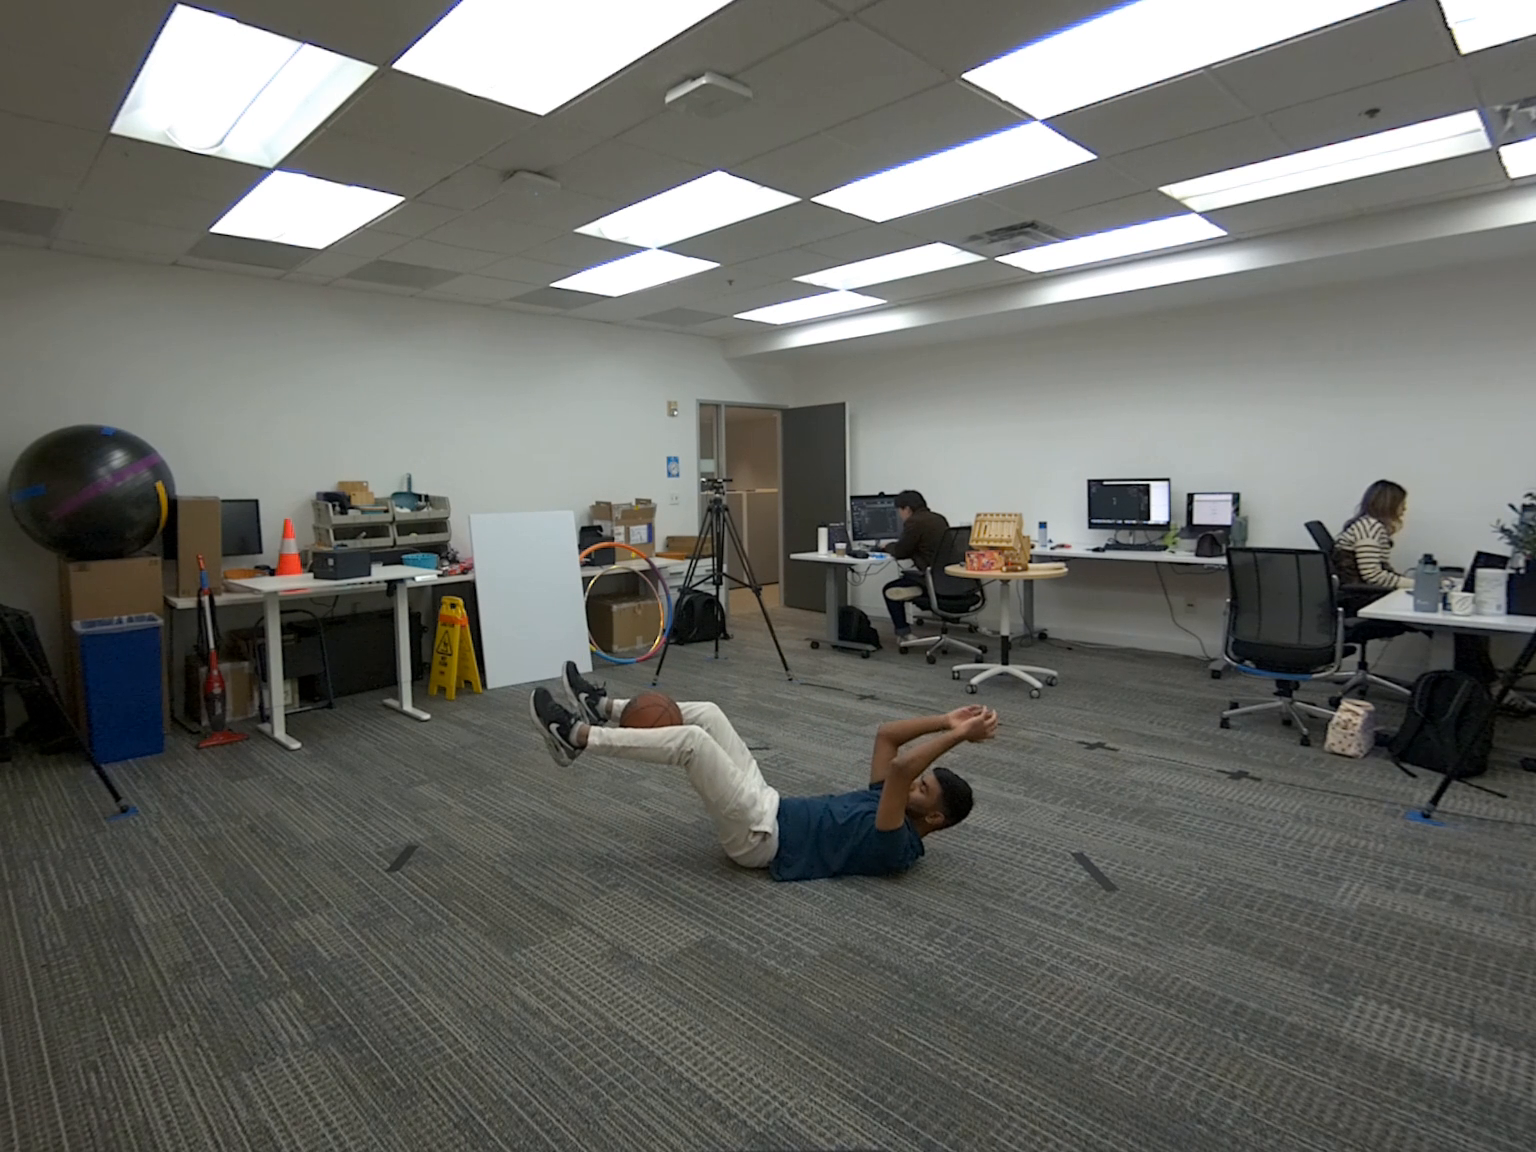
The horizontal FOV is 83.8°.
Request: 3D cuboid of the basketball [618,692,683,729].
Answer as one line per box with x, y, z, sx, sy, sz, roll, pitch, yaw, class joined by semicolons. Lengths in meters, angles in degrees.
-0.429;0.553;3.193;0.236;0.235;0.237;-1;5;-2;basketball
